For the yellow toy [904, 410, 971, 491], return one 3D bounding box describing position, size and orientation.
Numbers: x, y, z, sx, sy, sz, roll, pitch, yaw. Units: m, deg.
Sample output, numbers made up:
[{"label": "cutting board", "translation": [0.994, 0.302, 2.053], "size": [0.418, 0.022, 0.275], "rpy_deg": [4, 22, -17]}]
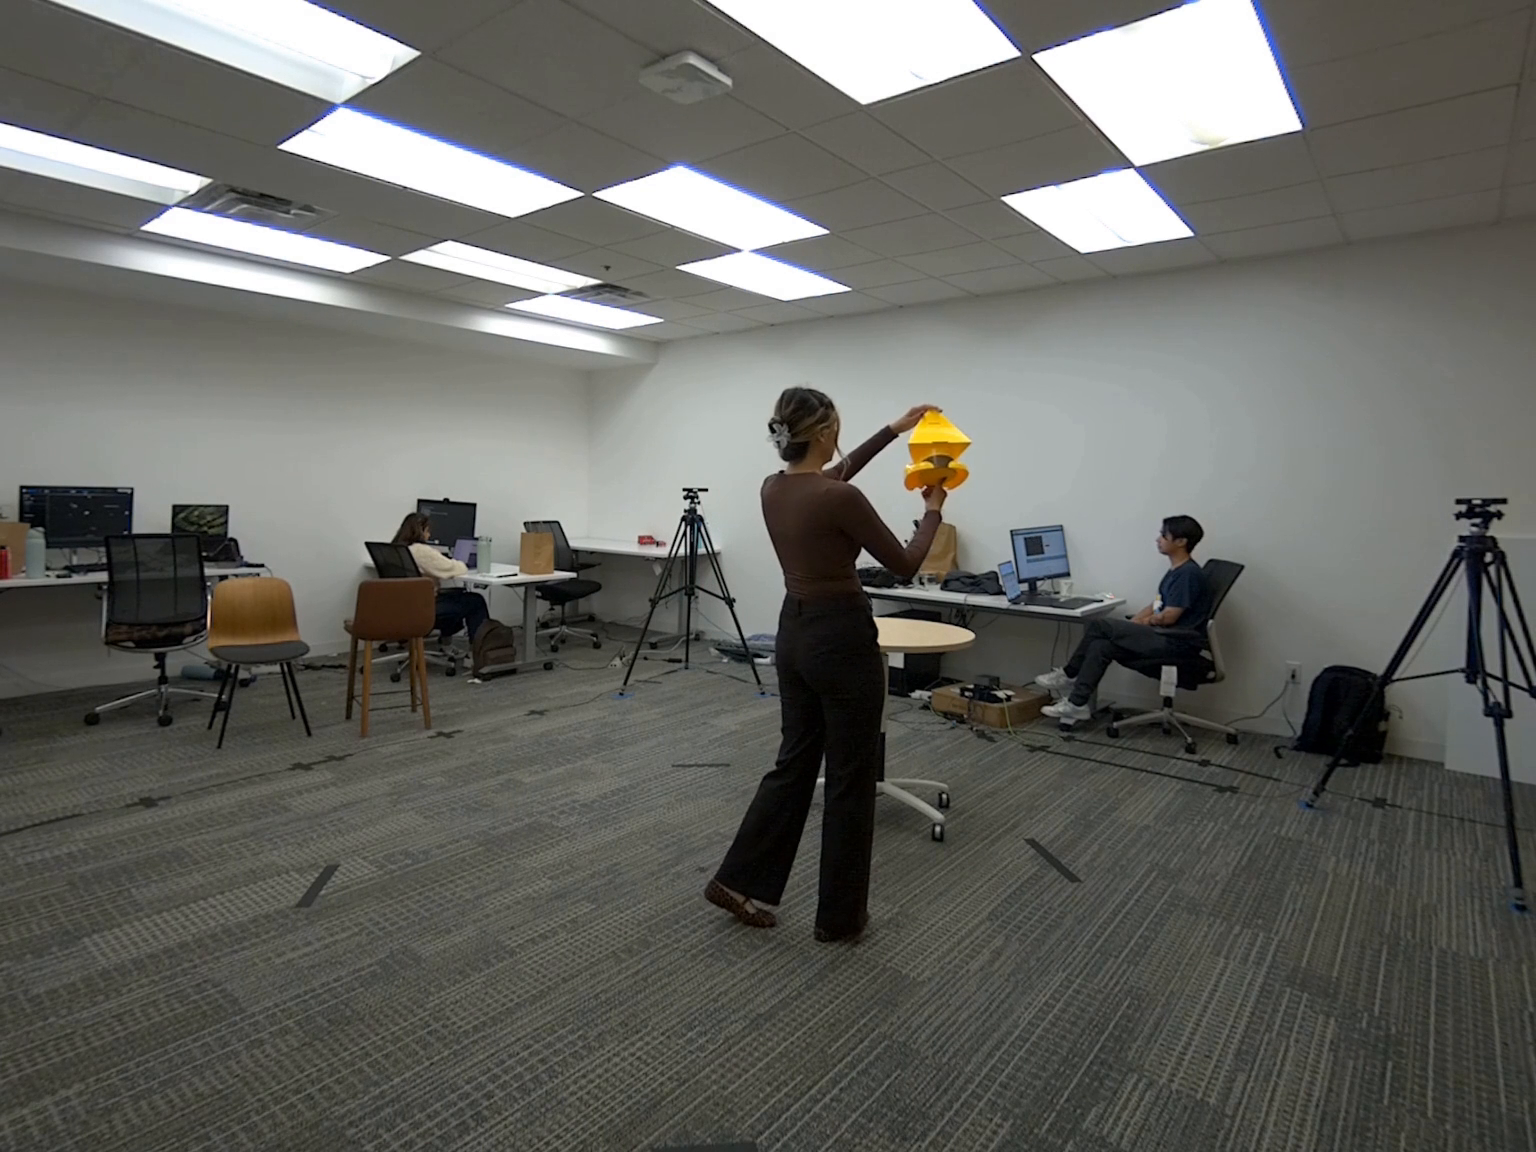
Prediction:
[{"label": "yellow toy", "translation": [0.532, -0.421, 2.796], "size": [0.204, 0.235, 0.189], "rpy_deg": [1, -22, -2]}]
